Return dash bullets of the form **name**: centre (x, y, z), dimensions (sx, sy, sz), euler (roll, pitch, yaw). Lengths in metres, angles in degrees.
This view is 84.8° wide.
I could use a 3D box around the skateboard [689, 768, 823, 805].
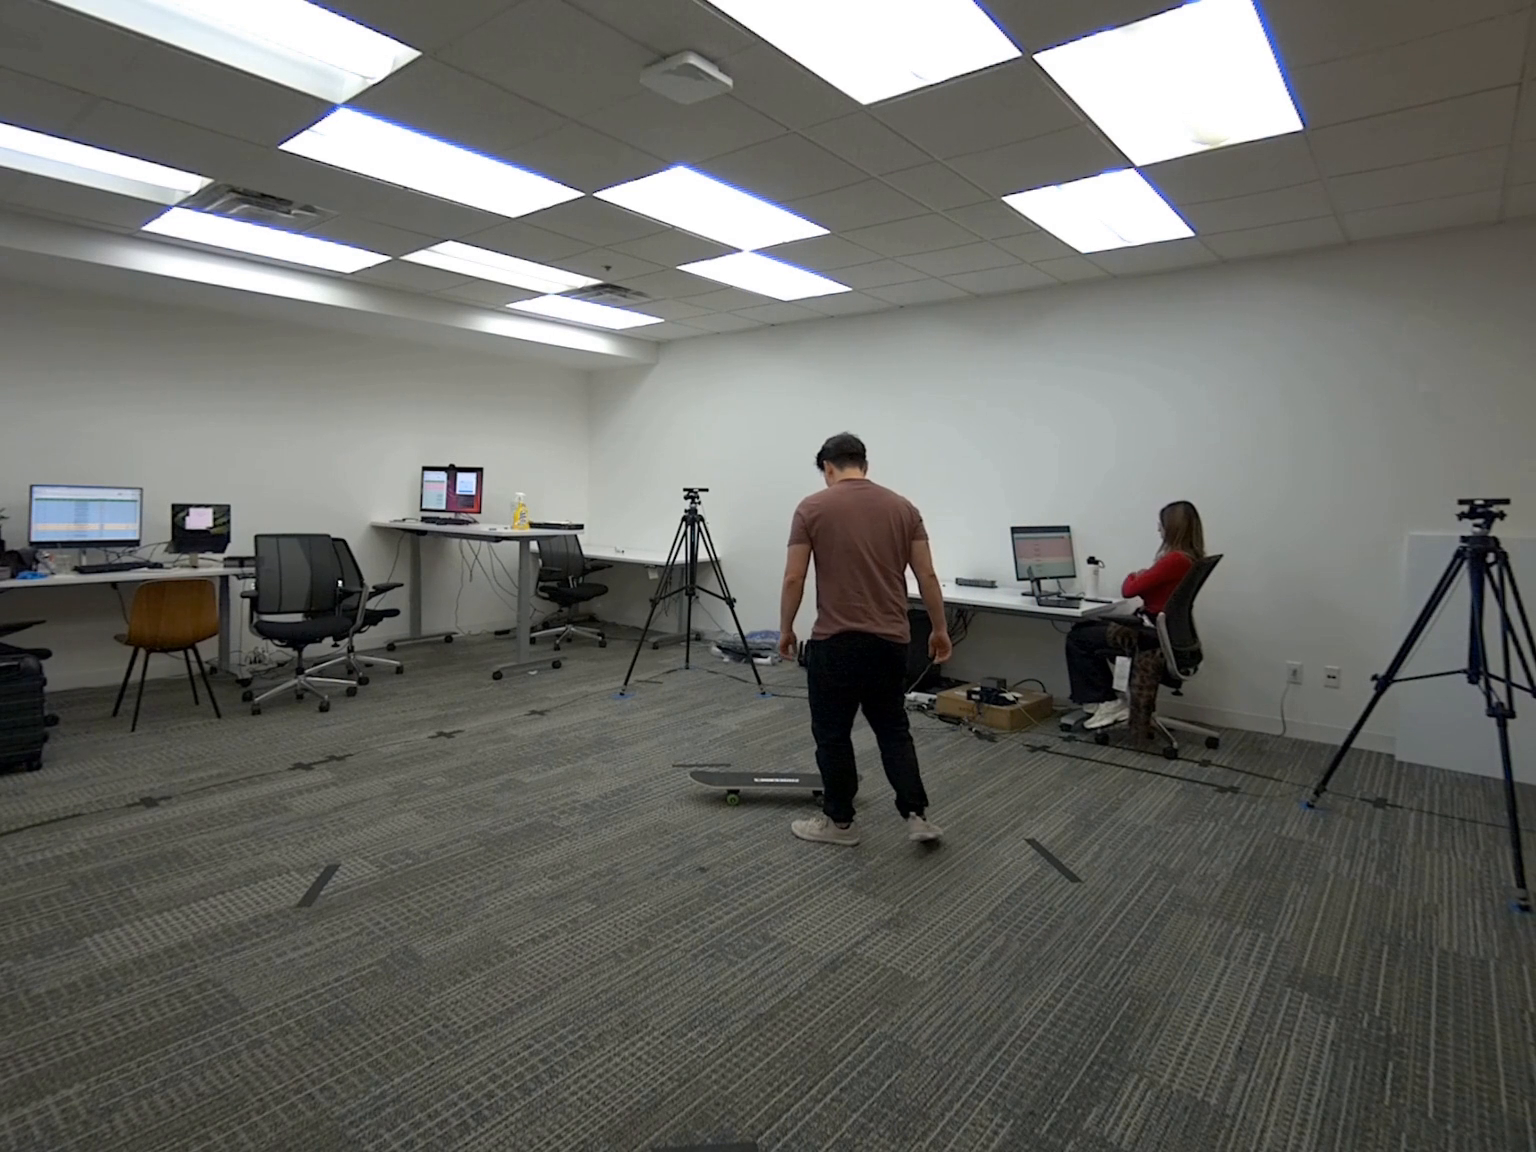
- **skateboard**: centre (0.027, 0.950, 3.839), dimensions (0.784, 0.110, 0.194), euler (1, 6, -1)
